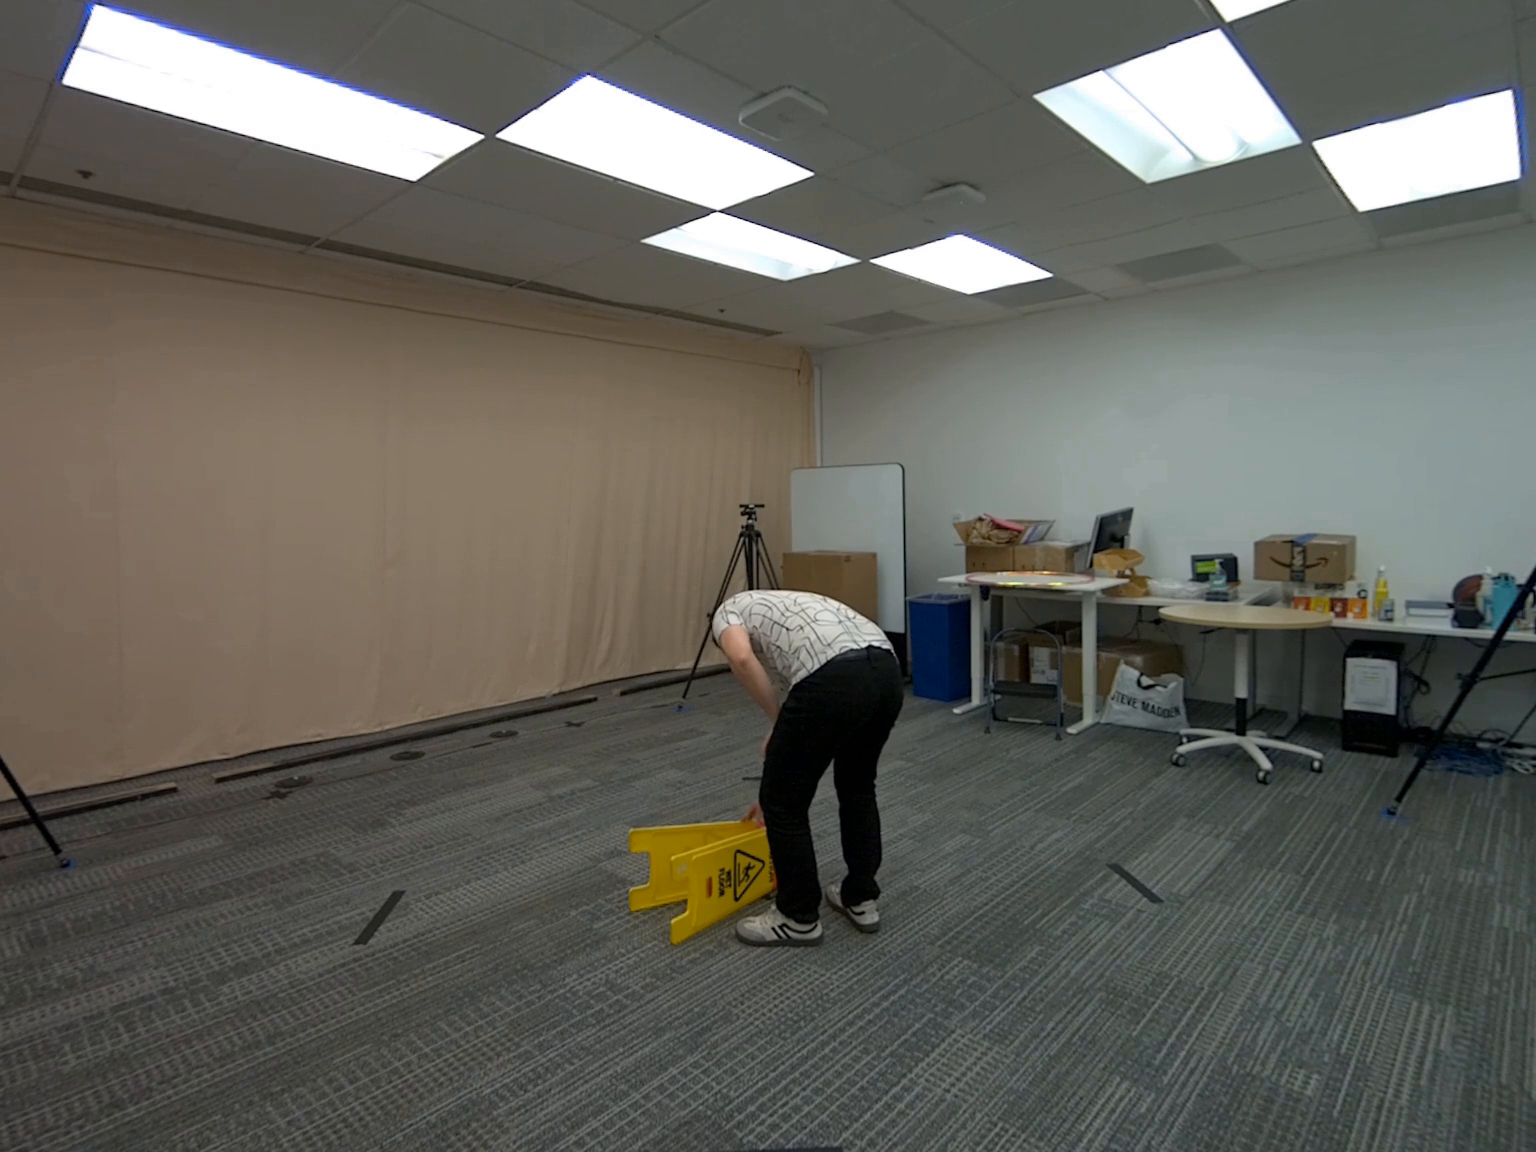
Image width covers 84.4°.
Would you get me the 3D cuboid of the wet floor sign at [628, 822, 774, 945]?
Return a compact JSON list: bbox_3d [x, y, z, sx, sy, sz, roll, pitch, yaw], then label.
[{"bbox_3d":[-0.135,1.013,2.966,0.627,0.282,0.299,-2,4,-36],"label":"wet floor sign"}]
